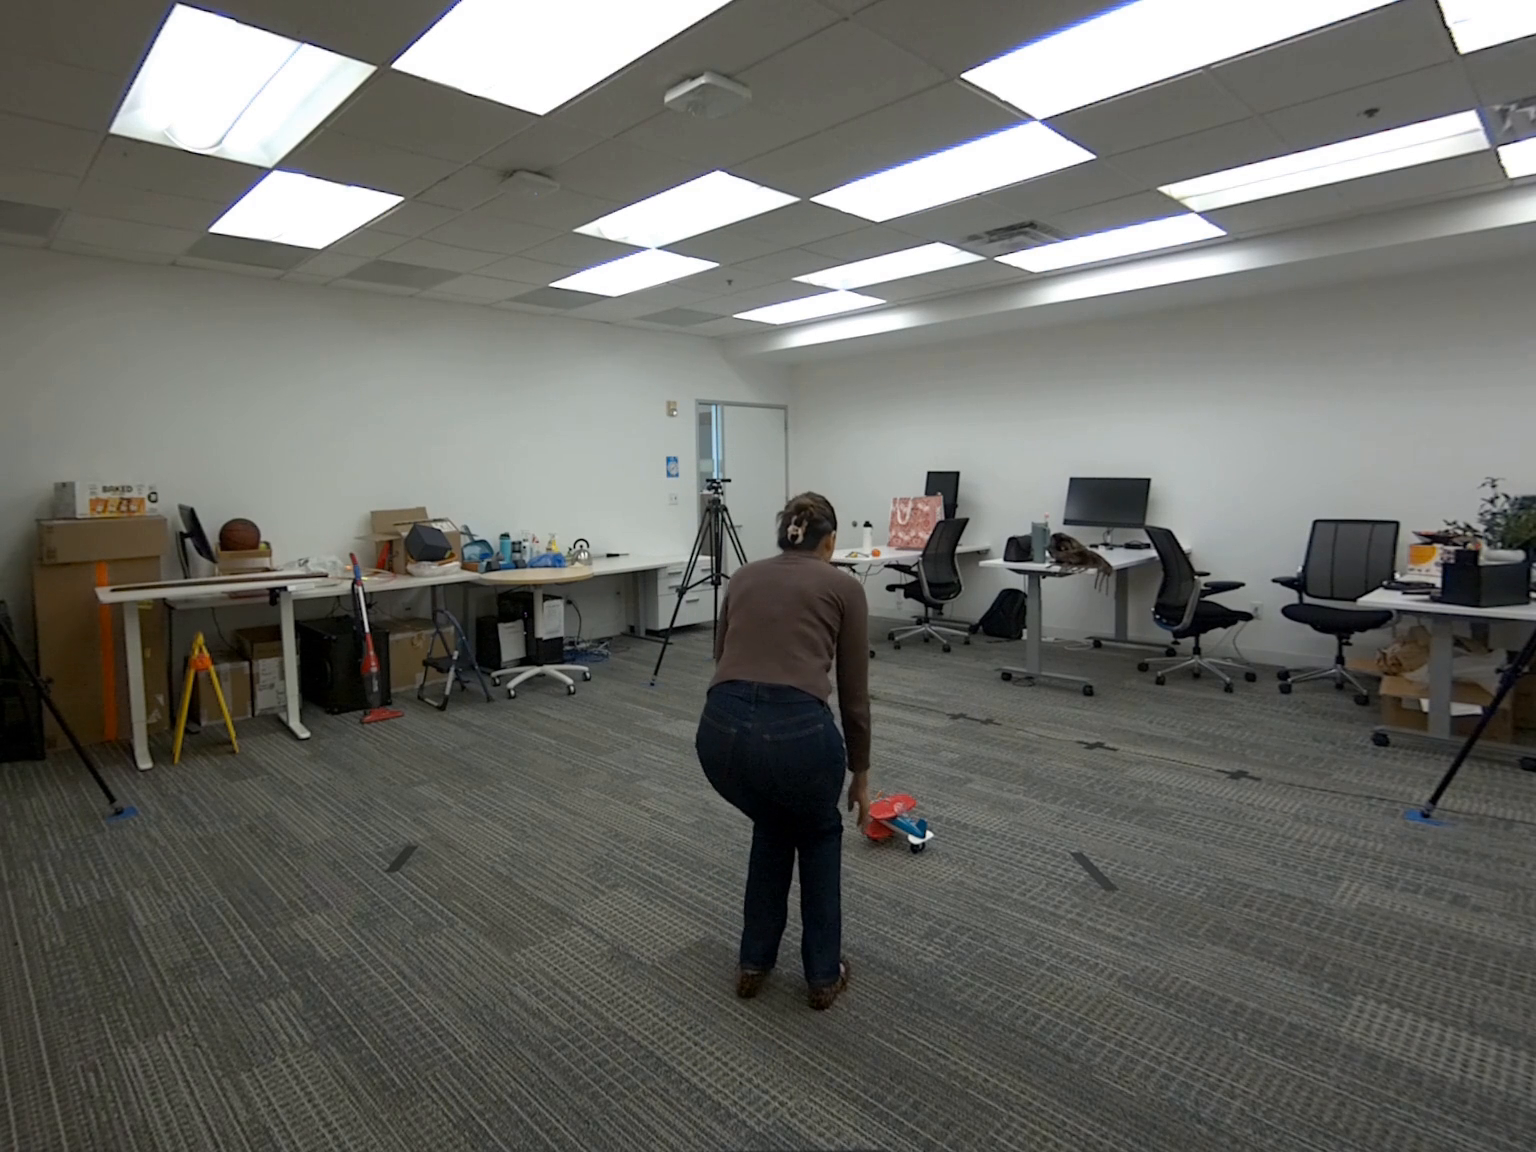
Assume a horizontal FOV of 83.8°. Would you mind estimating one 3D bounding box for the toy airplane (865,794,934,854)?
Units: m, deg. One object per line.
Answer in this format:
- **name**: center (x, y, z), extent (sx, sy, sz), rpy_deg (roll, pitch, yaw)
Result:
- **toy airplane**: center (0.506, 0.943, 3.260), extent (0.264, 0.156, 0.247), rpy_deg (-1, 4, 19)
